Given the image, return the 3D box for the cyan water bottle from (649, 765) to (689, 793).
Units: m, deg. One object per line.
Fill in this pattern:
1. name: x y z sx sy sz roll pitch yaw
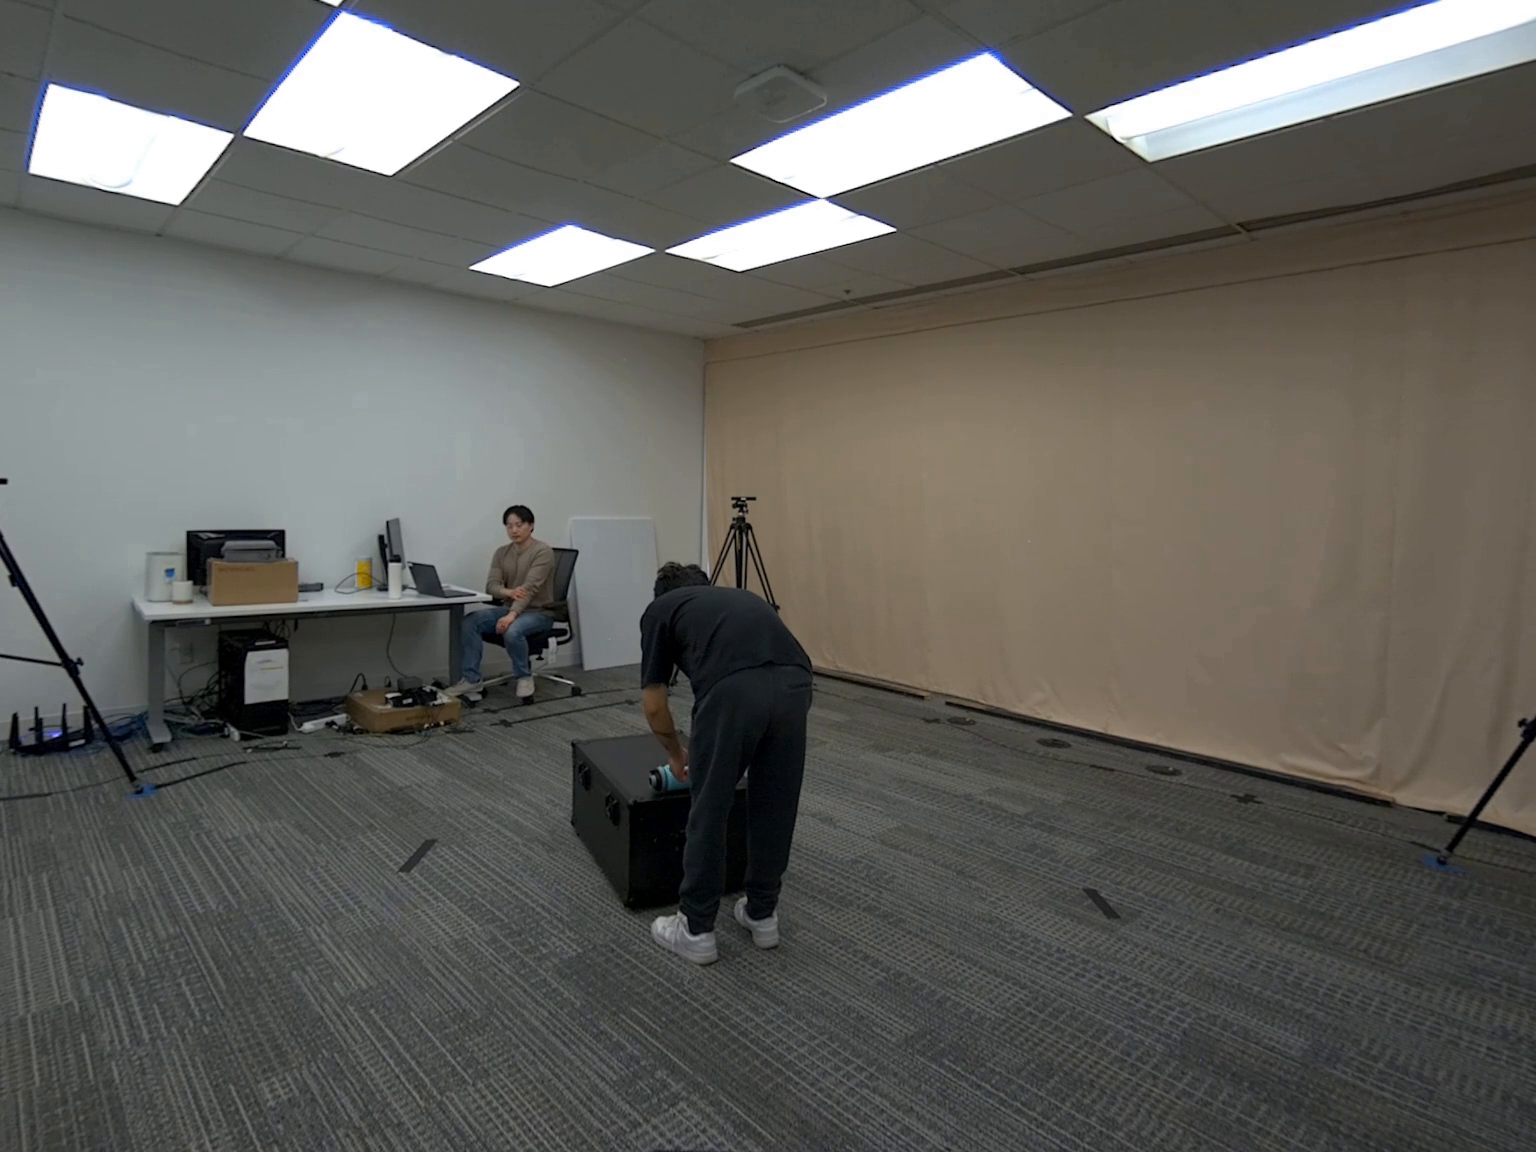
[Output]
1. cyan water bottle: -0.285 0.699 2.931 0.279 0.092 0.094 -1 5 -23
